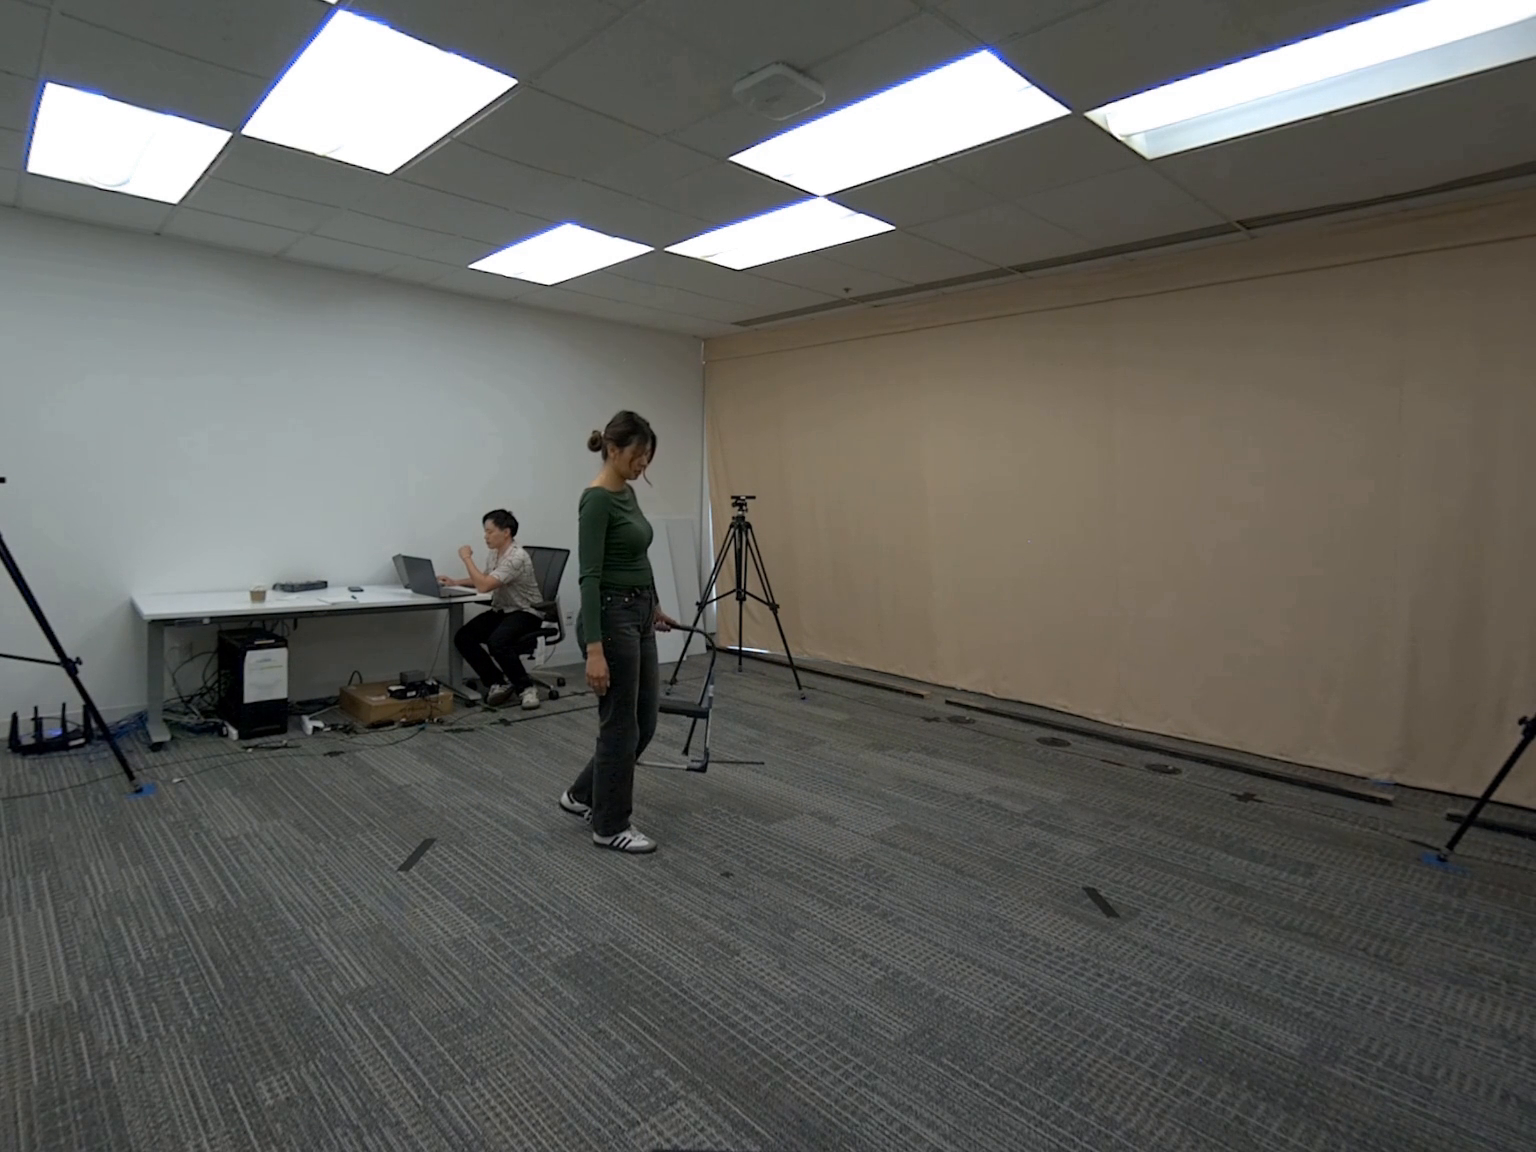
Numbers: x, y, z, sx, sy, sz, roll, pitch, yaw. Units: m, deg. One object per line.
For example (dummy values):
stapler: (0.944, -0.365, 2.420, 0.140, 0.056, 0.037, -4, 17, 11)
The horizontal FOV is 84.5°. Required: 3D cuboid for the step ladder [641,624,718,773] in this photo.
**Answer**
step ladder: (-0.474, 0.515, 3.720, 0.423, 0.607, 0.355, 10, -3, -21)
